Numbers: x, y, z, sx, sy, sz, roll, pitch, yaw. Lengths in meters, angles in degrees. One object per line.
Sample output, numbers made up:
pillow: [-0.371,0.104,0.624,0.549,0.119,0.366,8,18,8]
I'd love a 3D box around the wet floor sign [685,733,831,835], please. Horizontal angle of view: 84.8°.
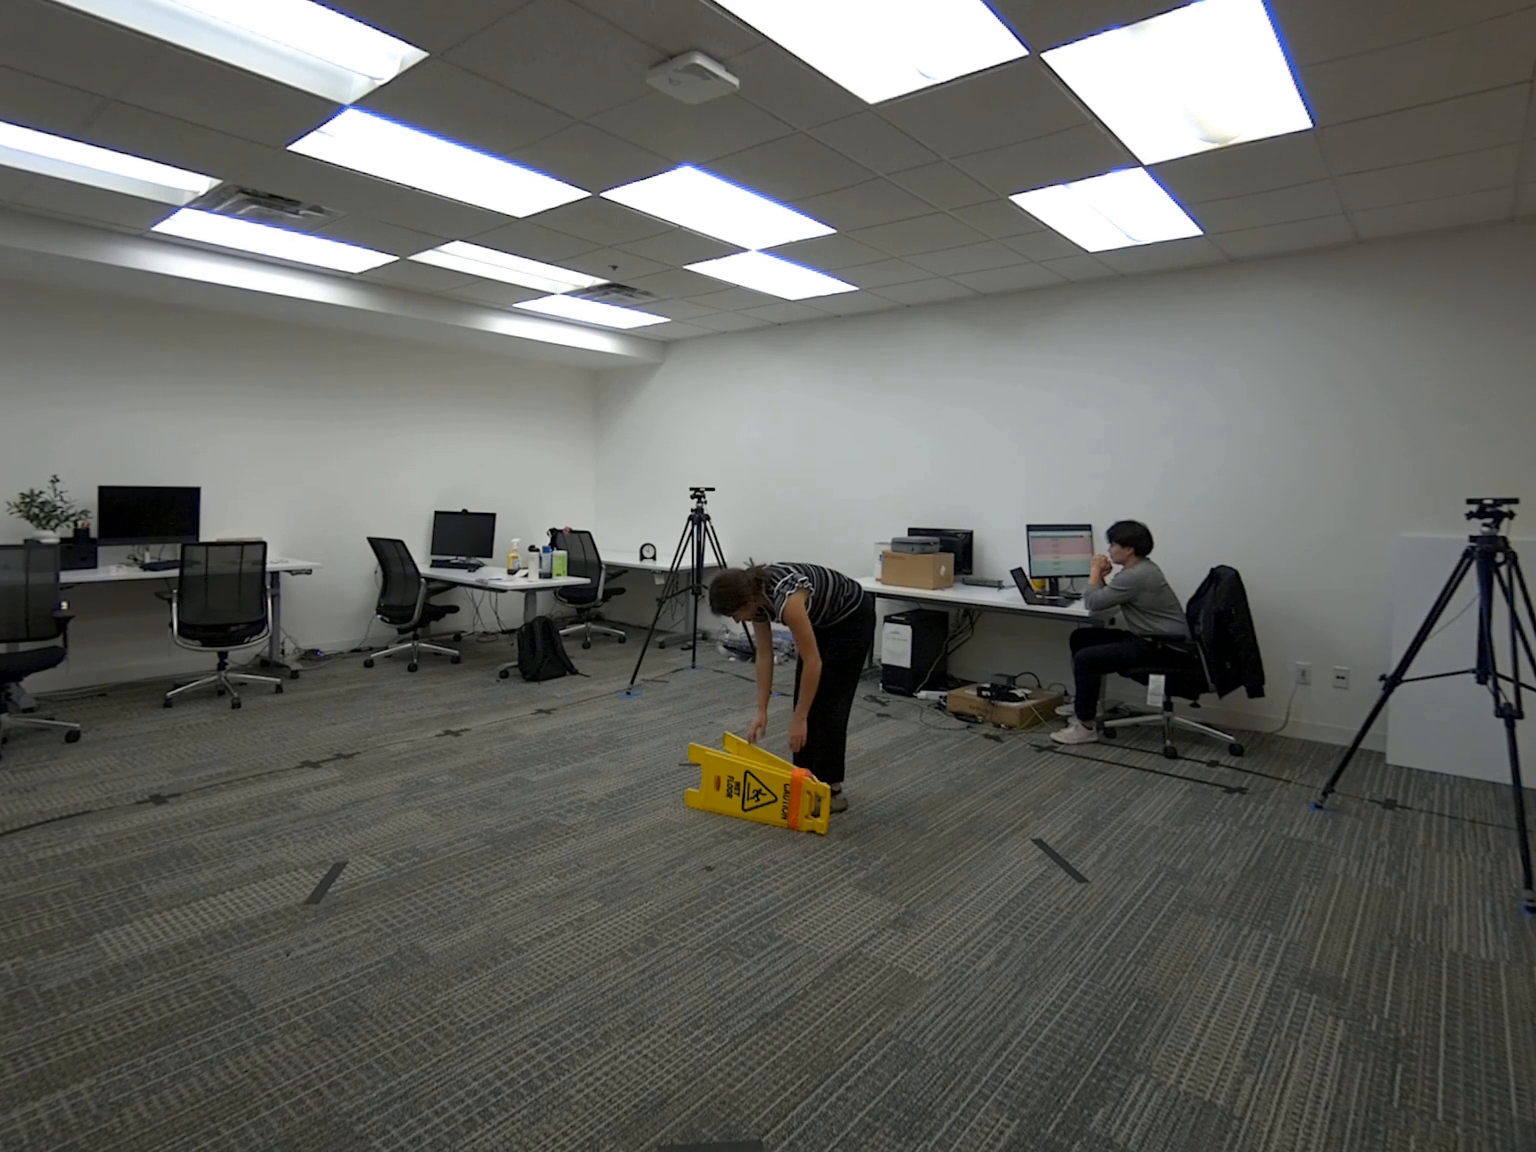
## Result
wet floor sign: [-0.028,0.895,3.621,0.669,0.281,0.281,9,7,37]
